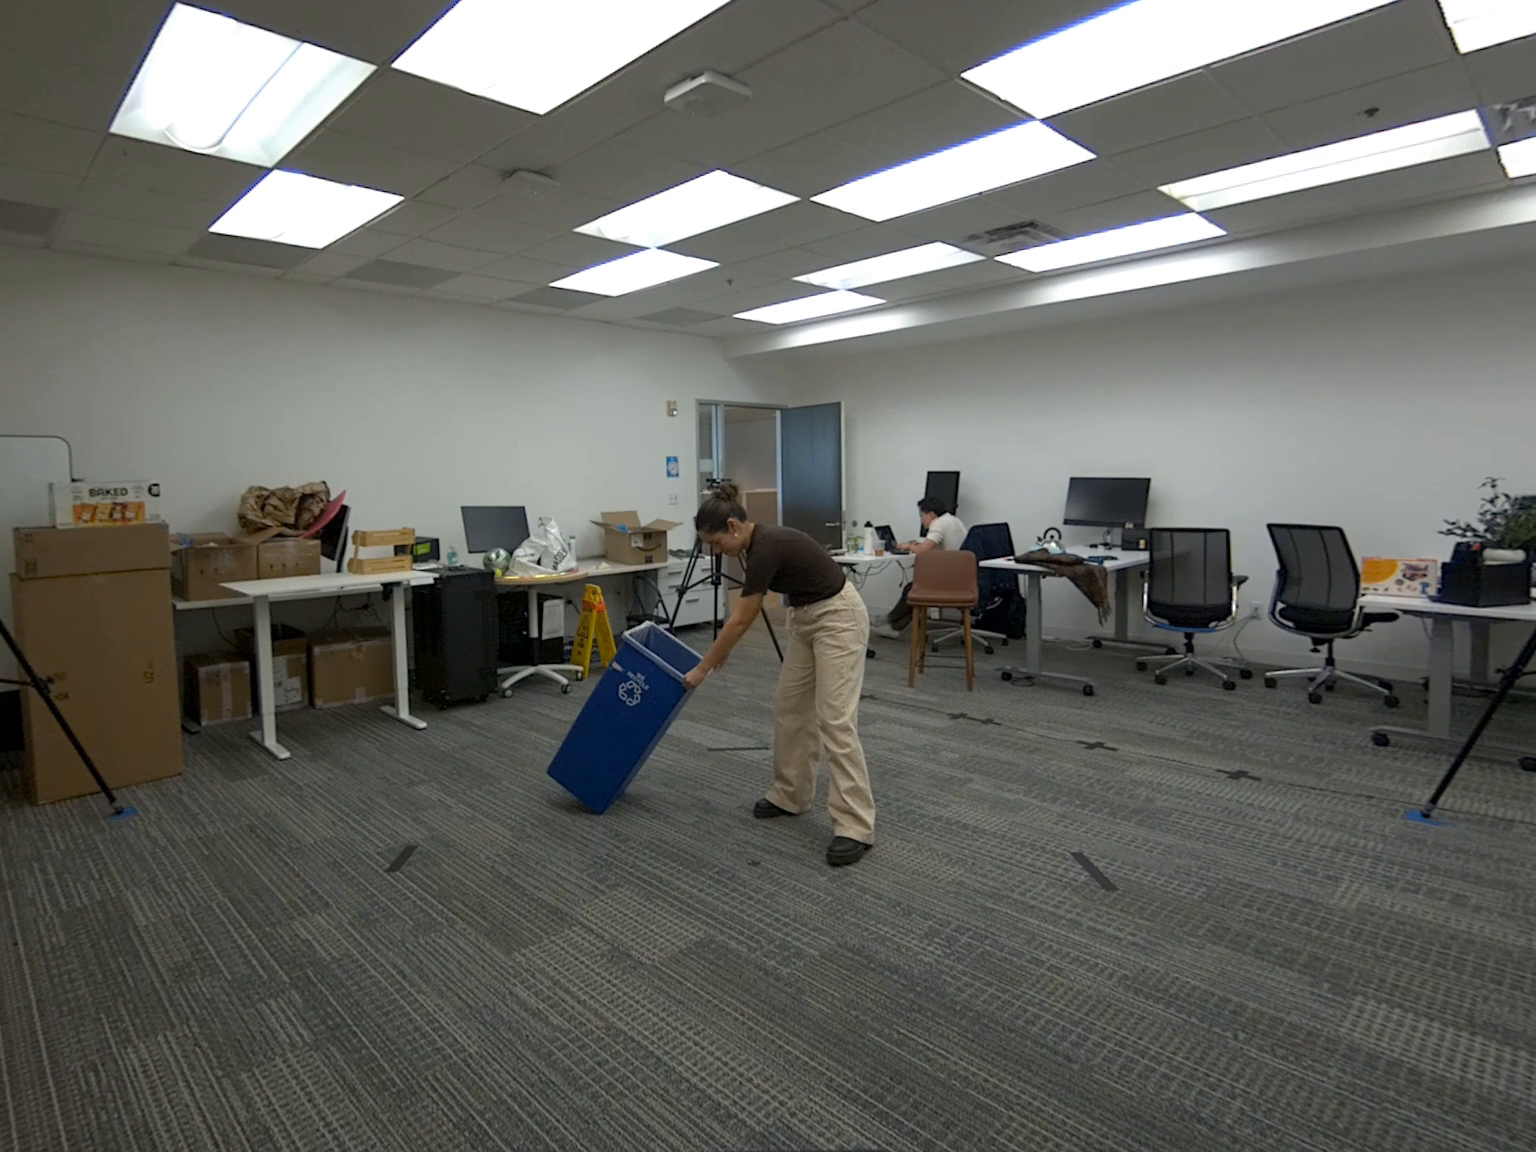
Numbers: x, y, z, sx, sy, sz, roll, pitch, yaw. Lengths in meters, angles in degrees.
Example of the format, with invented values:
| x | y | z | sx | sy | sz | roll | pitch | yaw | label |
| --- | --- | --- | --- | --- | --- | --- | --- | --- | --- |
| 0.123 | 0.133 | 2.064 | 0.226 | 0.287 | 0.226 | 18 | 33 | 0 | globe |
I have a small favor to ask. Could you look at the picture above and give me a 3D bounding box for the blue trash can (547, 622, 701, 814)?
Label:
| x | y | z | sx | sy | sz | roll | pitch | yaw | label |
| --- | --- | --- | --- | --- | --- | --- | --- | --- | --- |
| -0.594 | 0.615 | 3.670 | 0.379 | 0.712 | 0.375 | 34 | 9 | 8 | blue trash can |
